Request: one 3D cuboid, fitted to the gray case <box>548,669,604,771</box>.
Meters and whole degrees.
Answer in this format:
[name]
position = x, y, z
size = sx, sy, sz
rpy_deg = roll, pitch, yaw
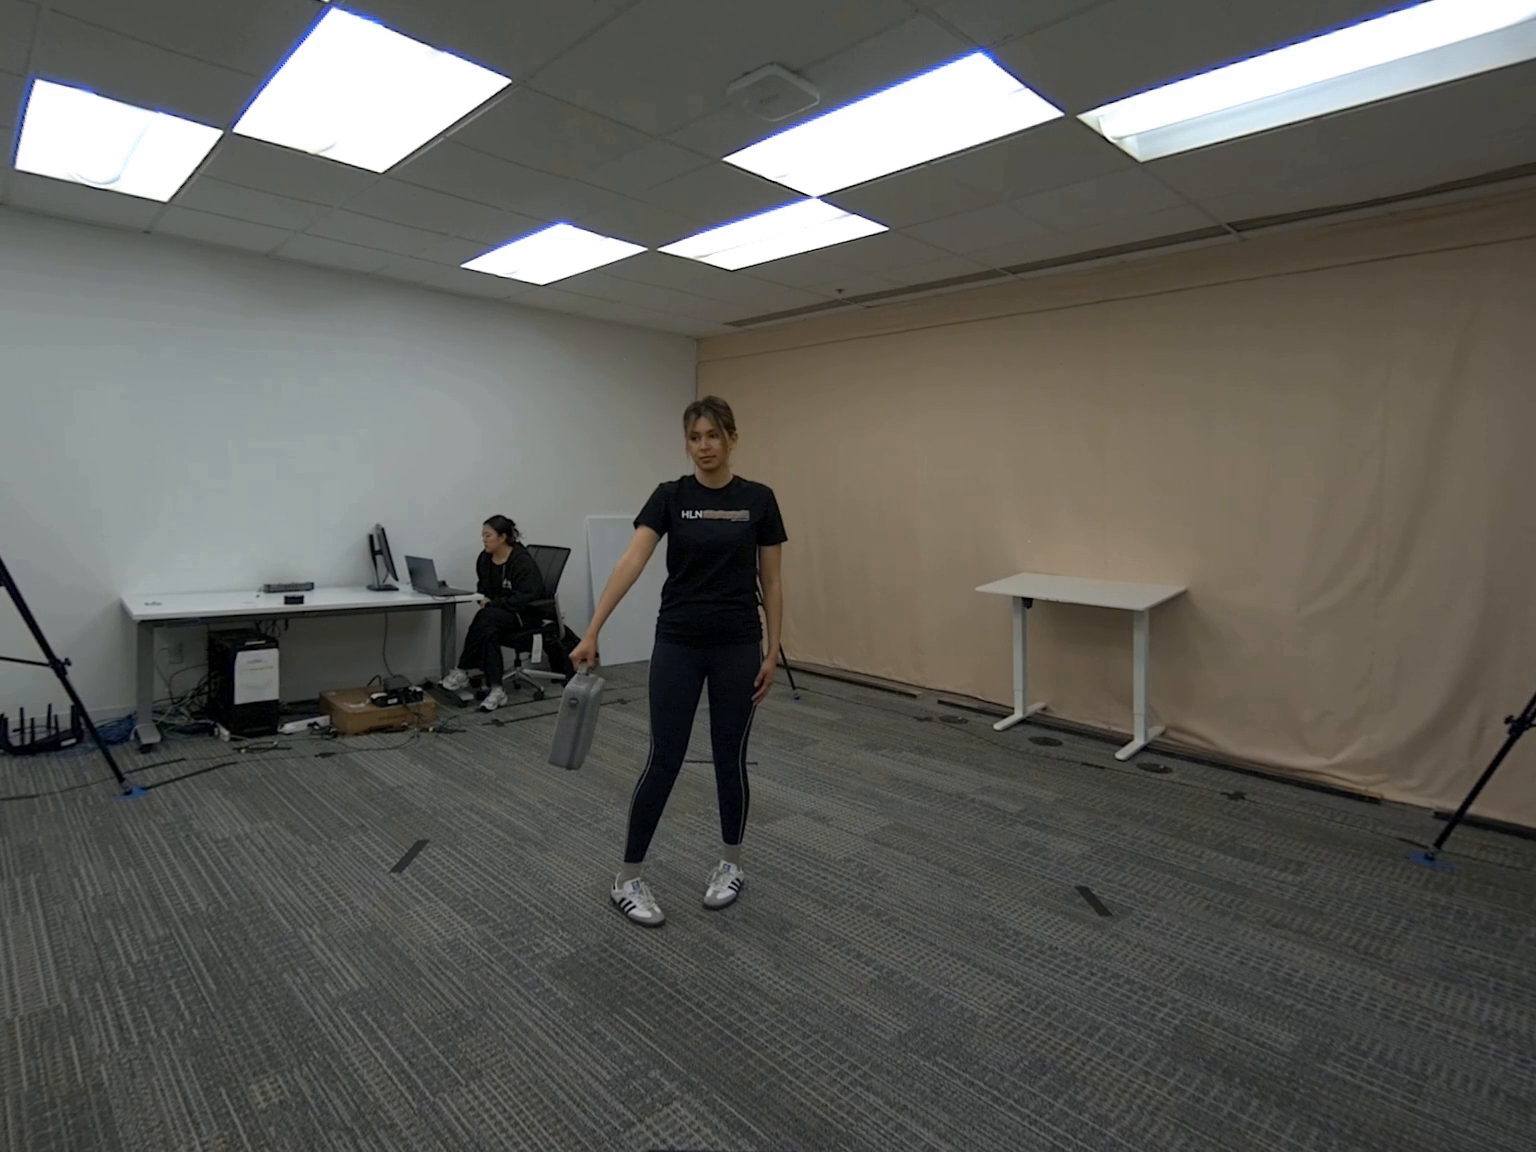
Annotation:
[gray case]
position = -0.587, 0.440, 2.592
size = 0.104, 0.260, 0.257
rpy_deg = 12, 1, -3
